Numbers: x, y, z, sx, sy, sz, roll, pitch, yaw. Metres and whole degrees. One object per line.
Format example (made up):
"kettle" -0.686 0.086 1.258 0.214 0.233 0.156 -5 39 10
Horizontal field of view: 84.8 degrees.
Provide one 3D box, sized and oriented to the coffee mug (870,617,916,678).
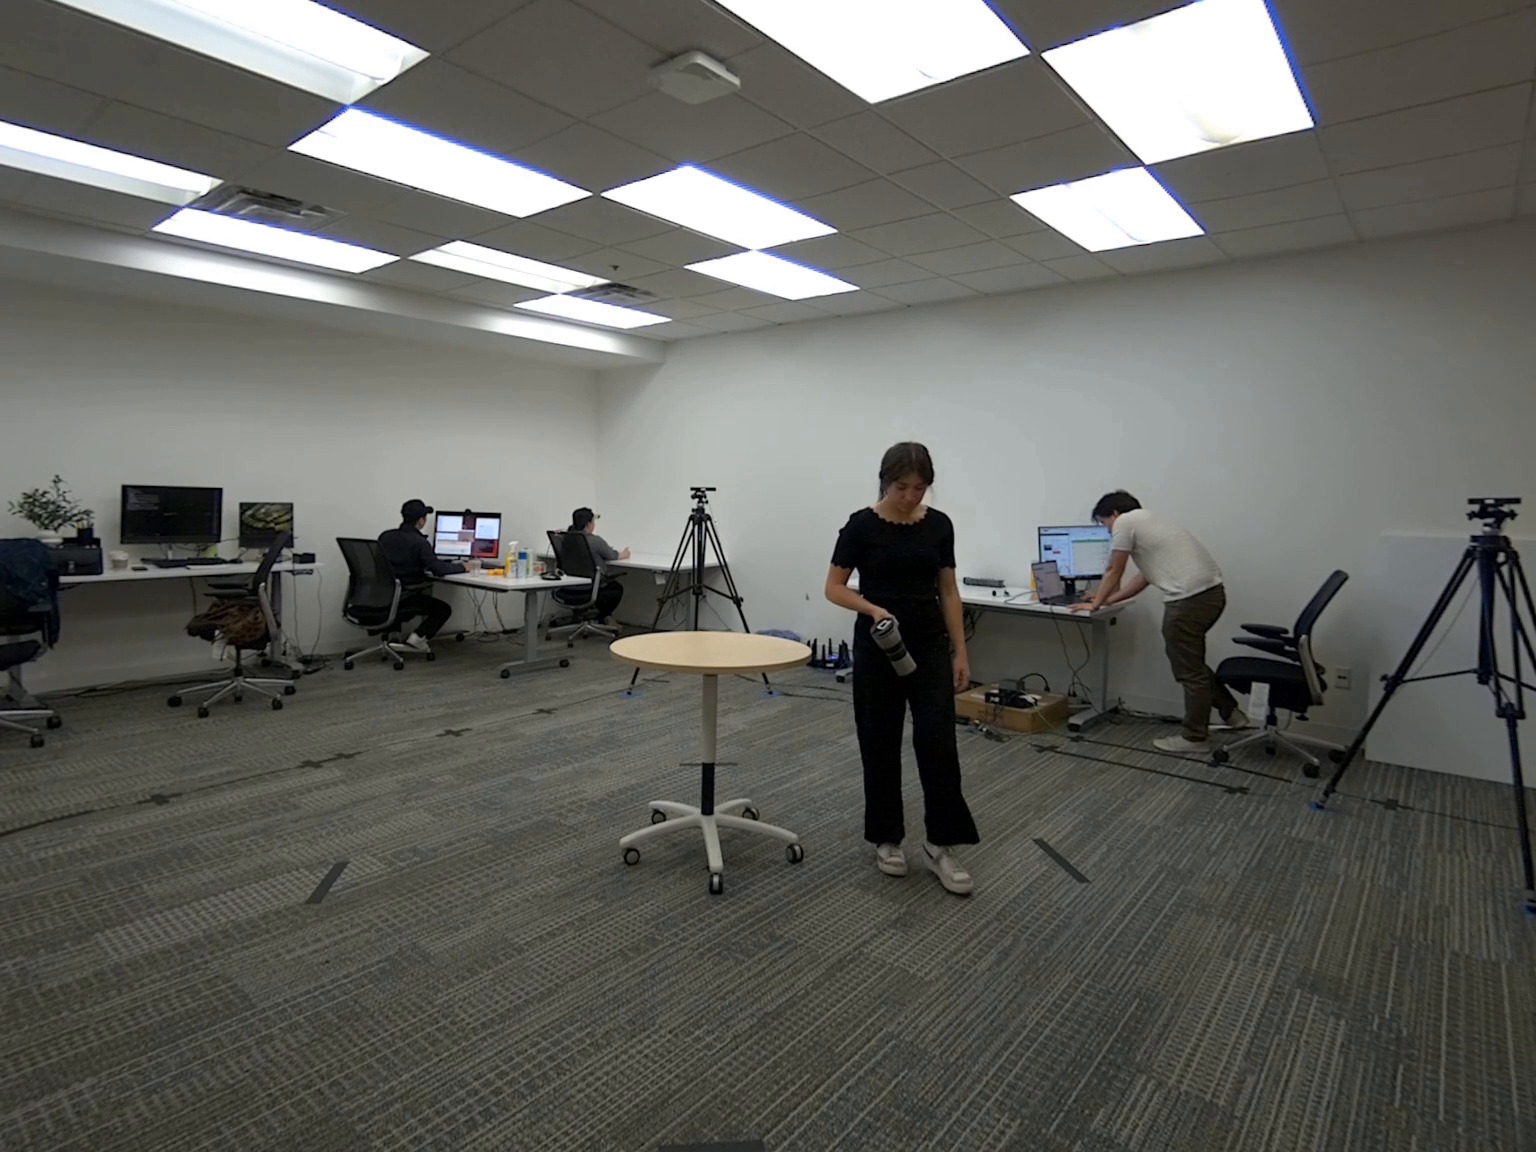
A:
"coffee mug" 0.423 0.244 2.933 0.088 0.199 0.124 -34 14 -6
